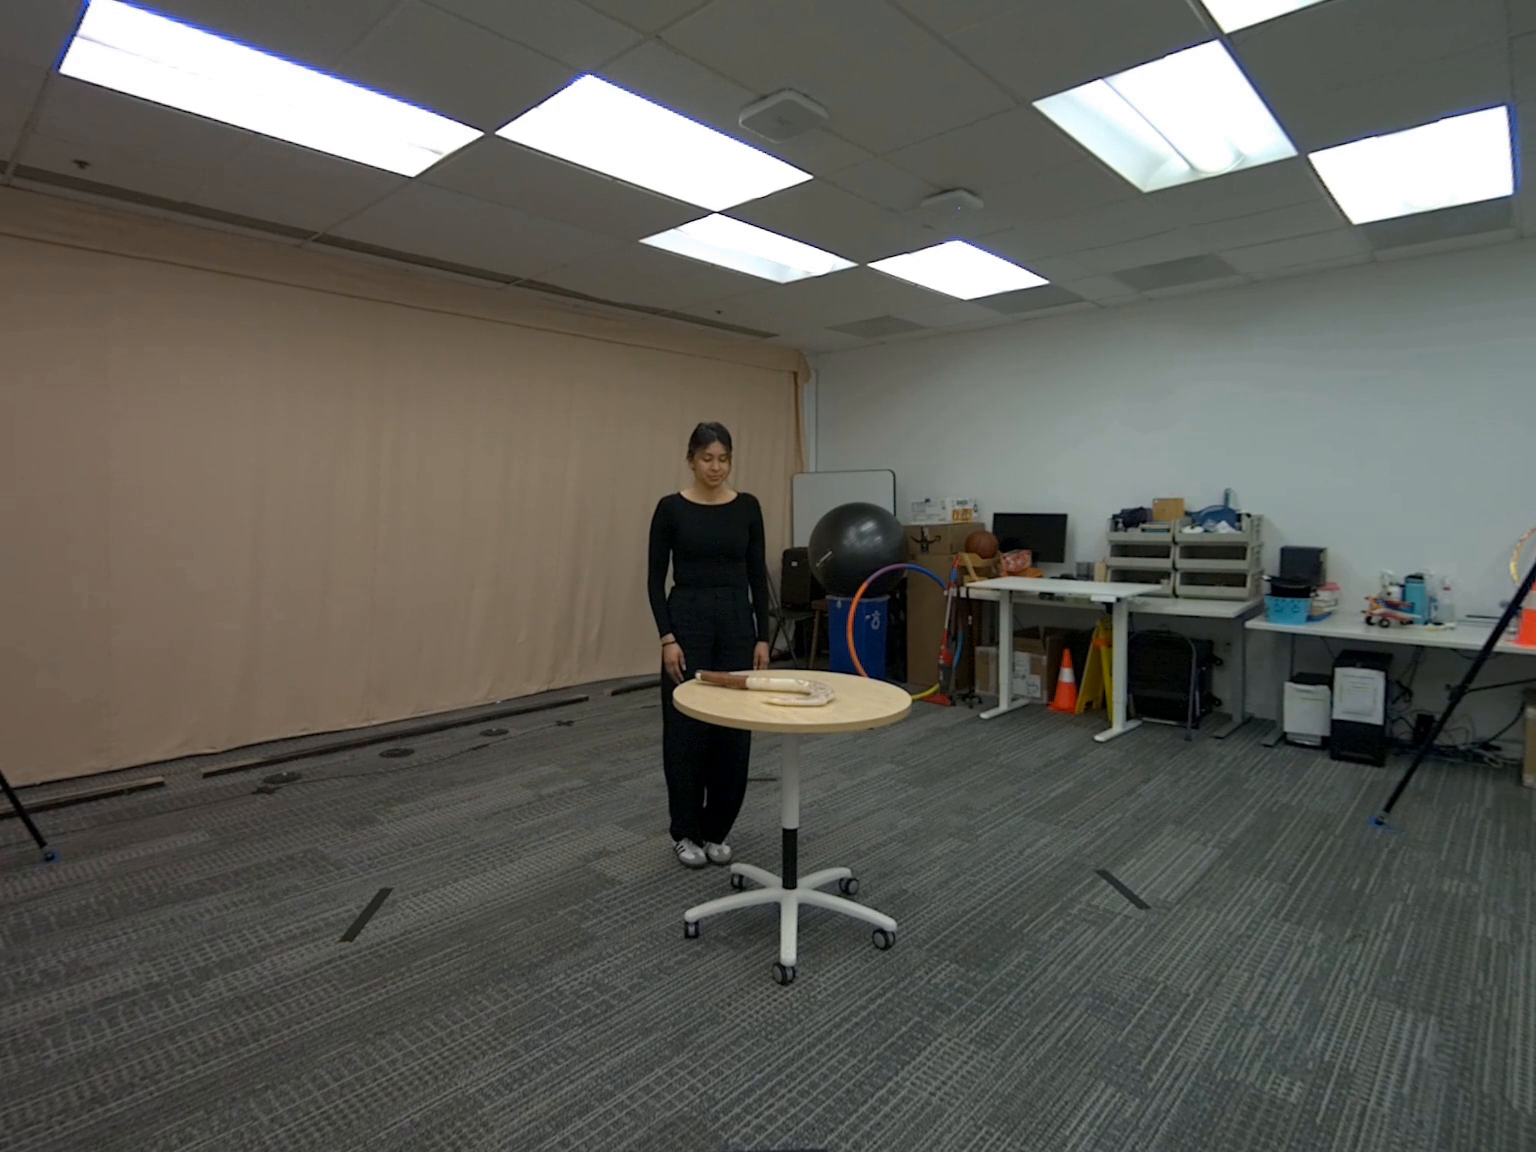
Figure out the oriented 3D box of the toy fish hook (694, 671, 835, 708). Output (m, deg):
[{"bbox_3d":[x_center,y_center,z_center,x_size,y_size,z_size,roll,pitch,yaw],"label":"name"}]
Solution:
[{"bbox_3d":[-0.030,0.366,2.696,0.520,0.048,0.219,3,4,26],"label":"toy fish hook"}]
